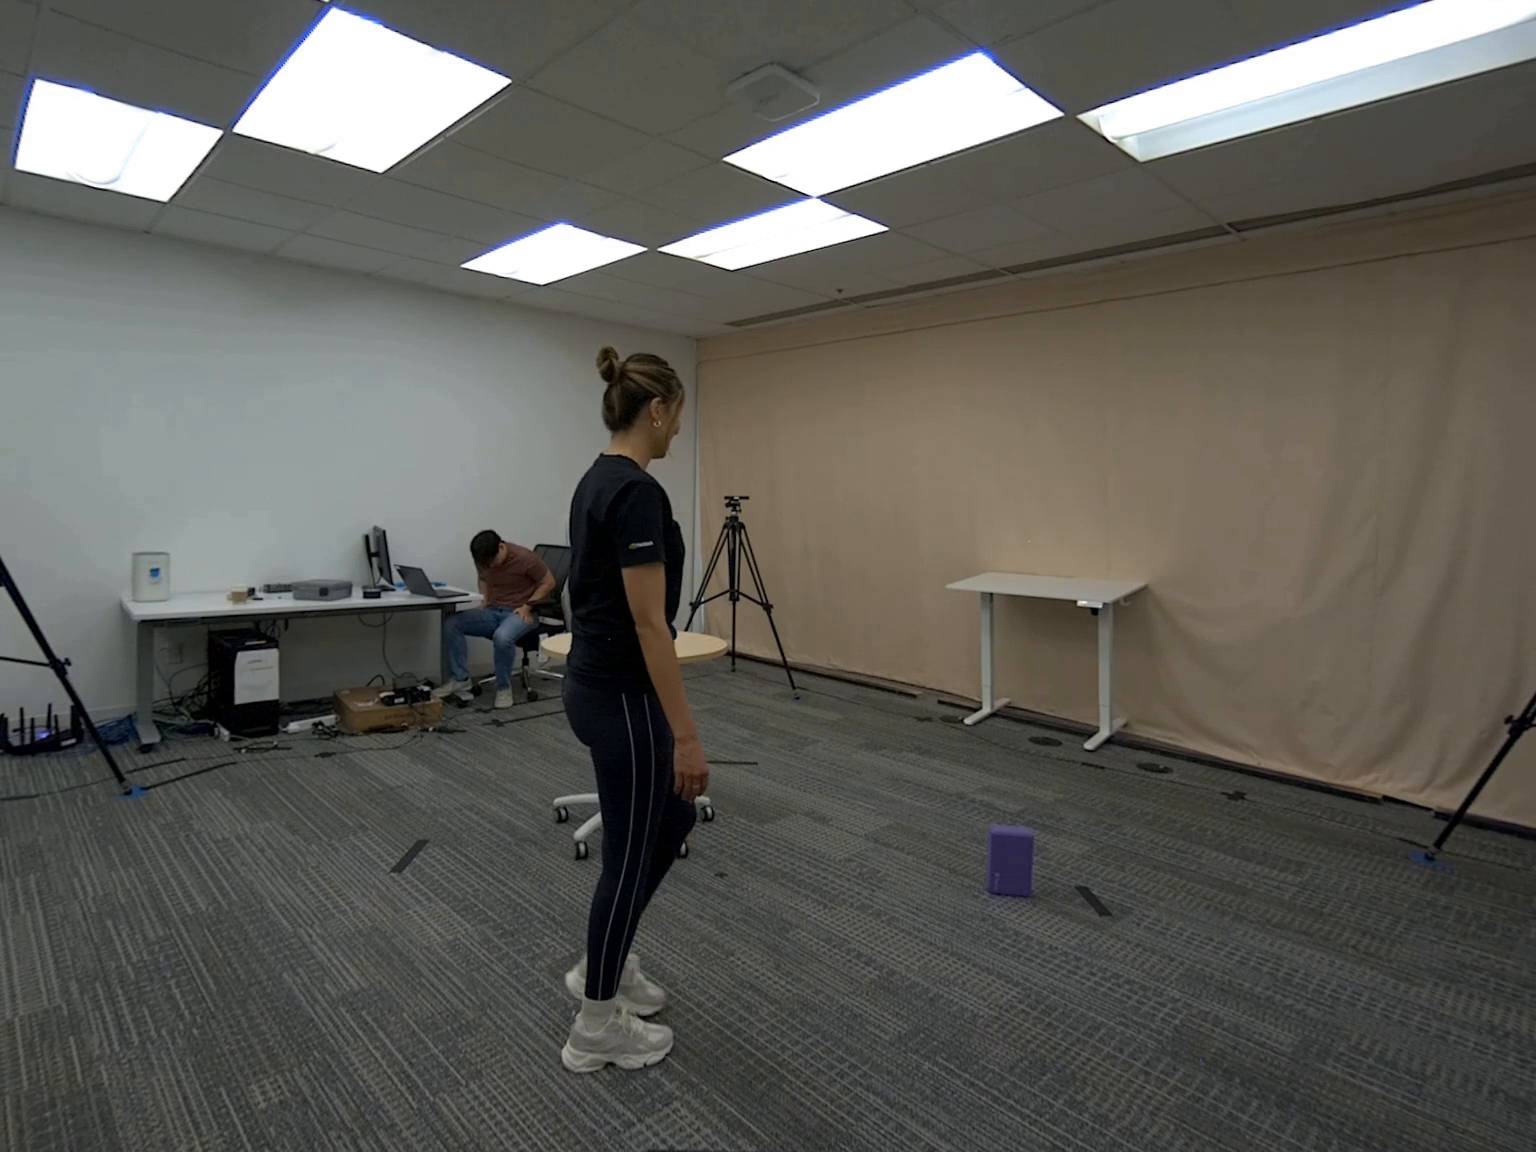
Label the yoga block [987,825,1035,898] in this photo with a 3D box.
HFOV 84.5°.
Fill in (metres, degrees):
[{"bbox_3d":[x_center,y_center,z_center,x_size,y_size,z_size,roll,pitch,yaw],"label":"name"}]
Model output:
[{"bbox_3d":[0.868,1.026,3.024,0.150,0.229,0.076,5,3,6],"label":"yoga block"}]
